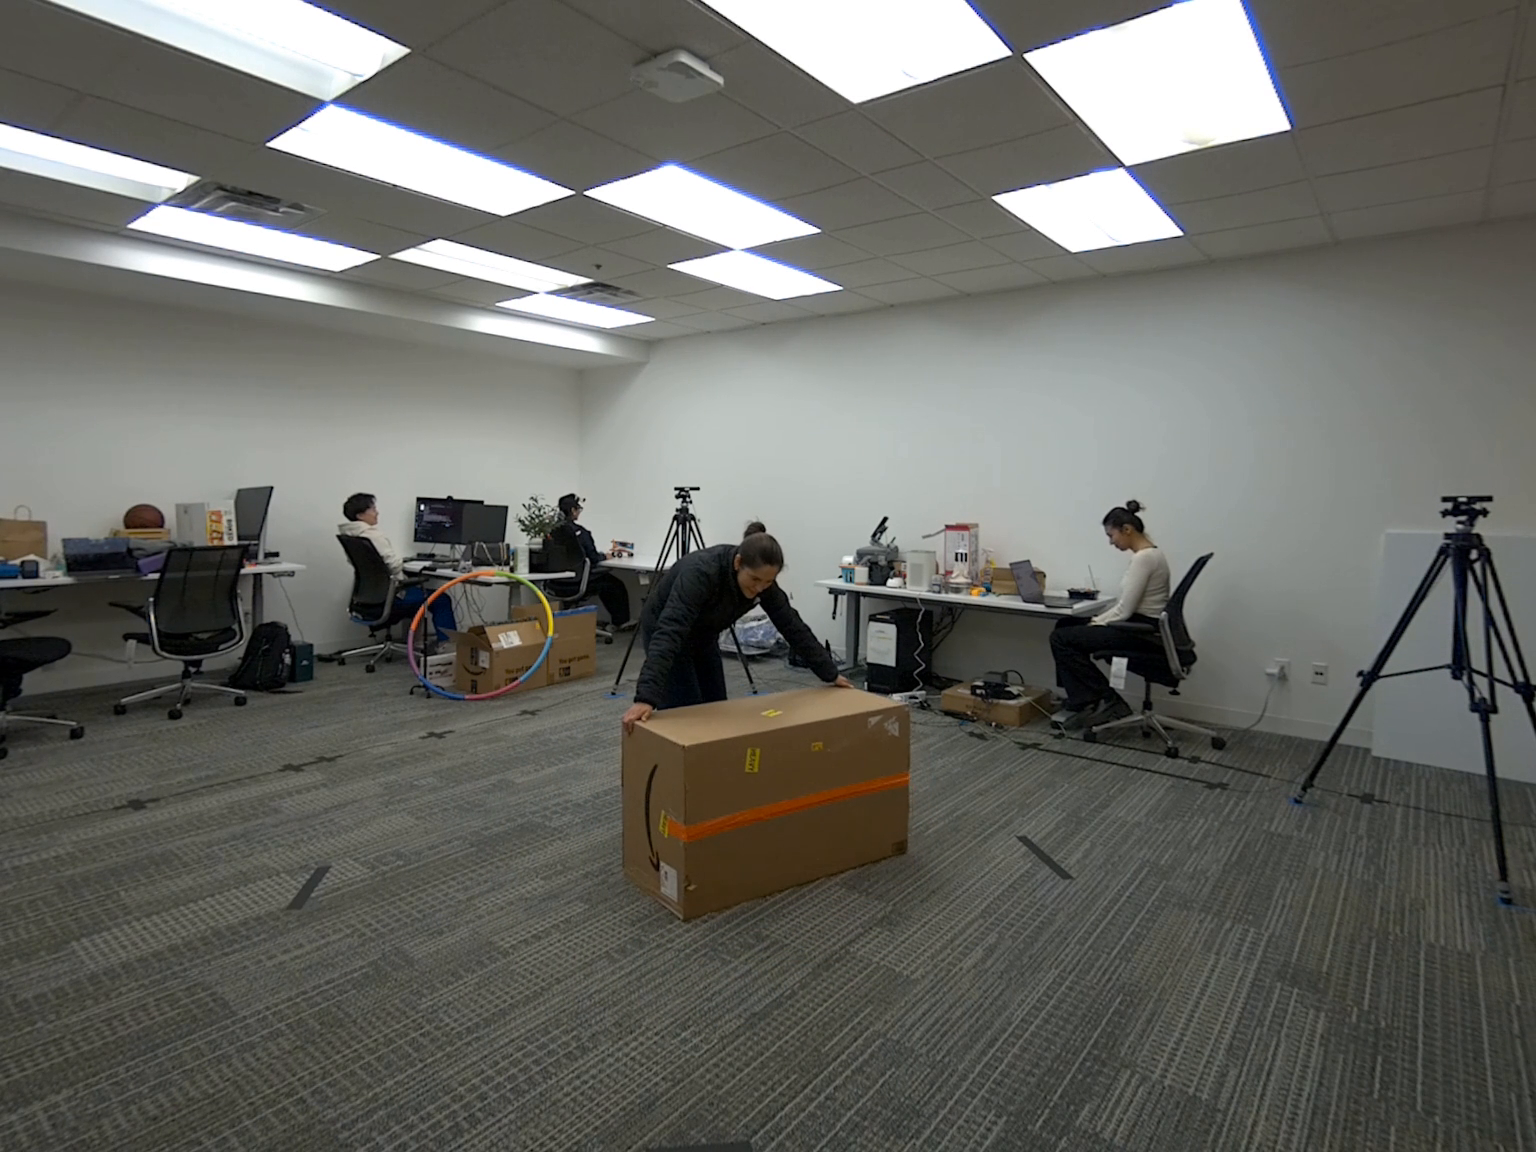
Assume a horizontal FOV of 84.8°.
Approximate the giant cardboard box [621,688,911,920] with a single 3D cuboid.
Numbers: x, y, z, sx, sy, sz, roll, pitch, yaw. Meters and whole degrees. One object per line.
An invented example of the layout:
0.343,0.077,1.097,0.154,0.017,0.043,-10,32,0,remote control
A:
0.025,0.777,3.167,0.998,0.581,0.462,-3,6,-35,giant cardboard box
